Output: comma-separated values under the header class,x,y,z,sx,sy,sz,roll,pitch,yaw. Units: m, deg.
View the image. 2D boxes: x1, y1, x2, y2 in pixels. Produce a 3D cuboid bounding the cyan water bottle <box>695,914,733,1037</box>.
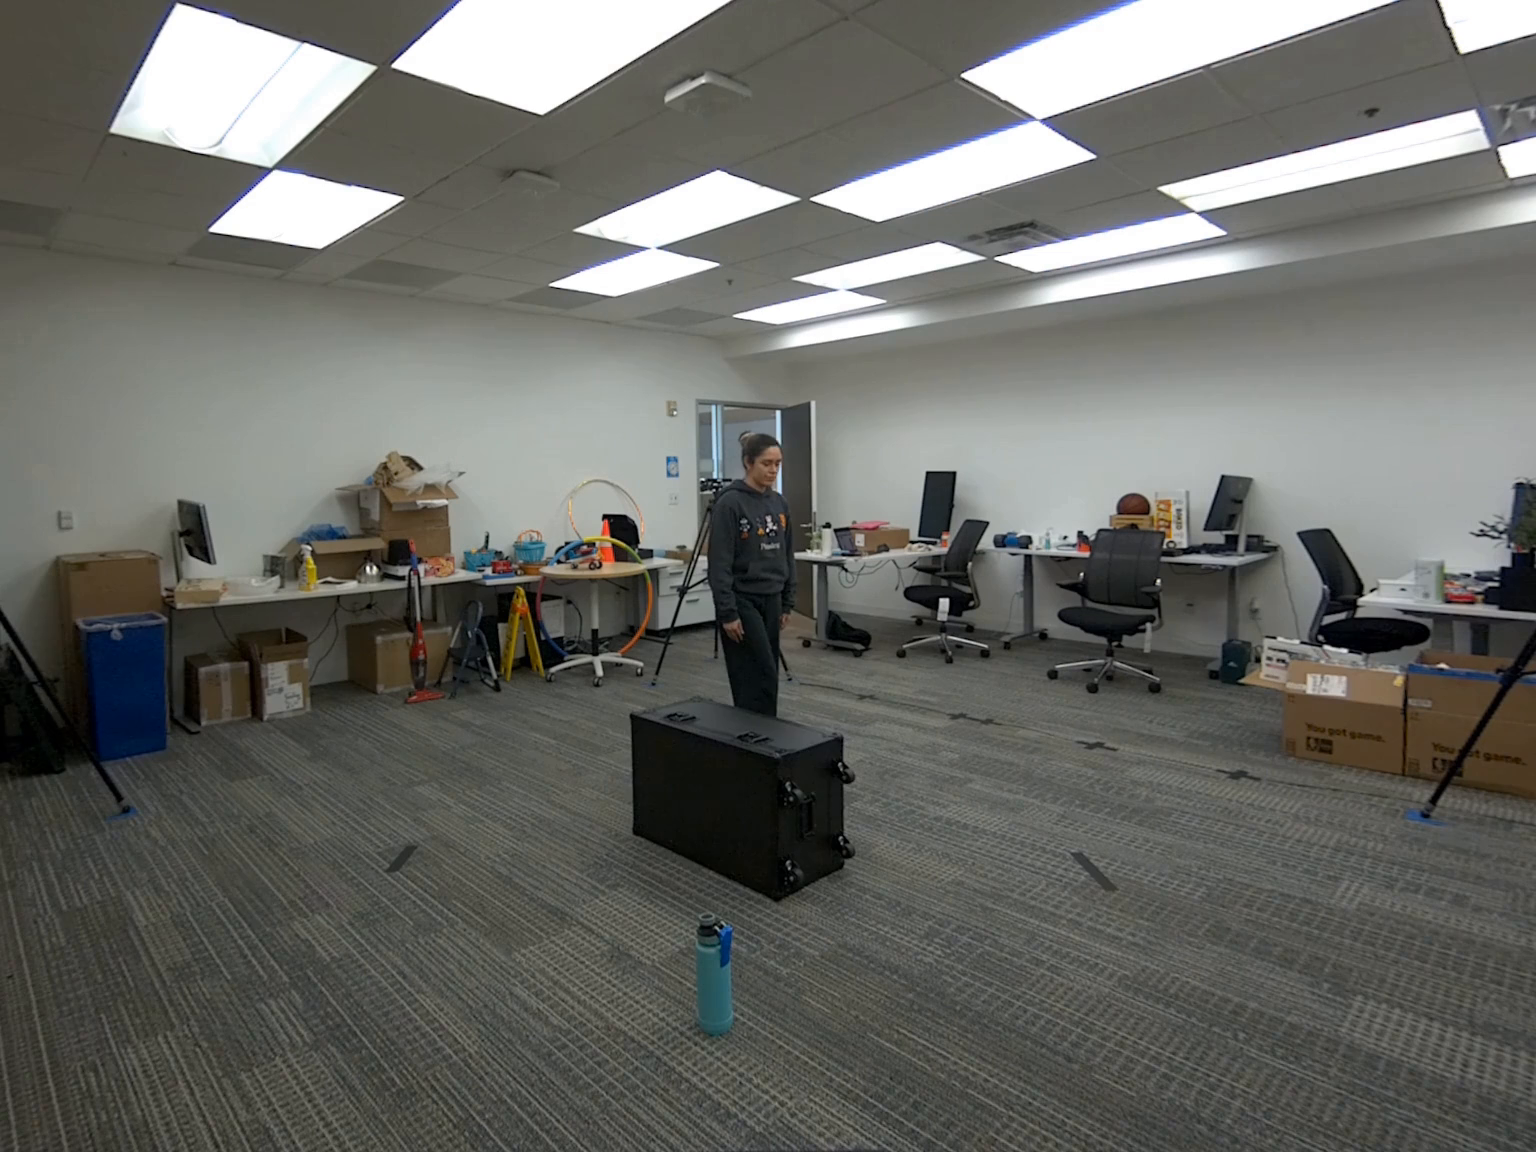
class,x,y,z,sx,sy,sz,roll,pitch,yaw
cyan water bottle,-0.135,1.019,2.172,0.092,0.282,0.093,-1,5,-2
